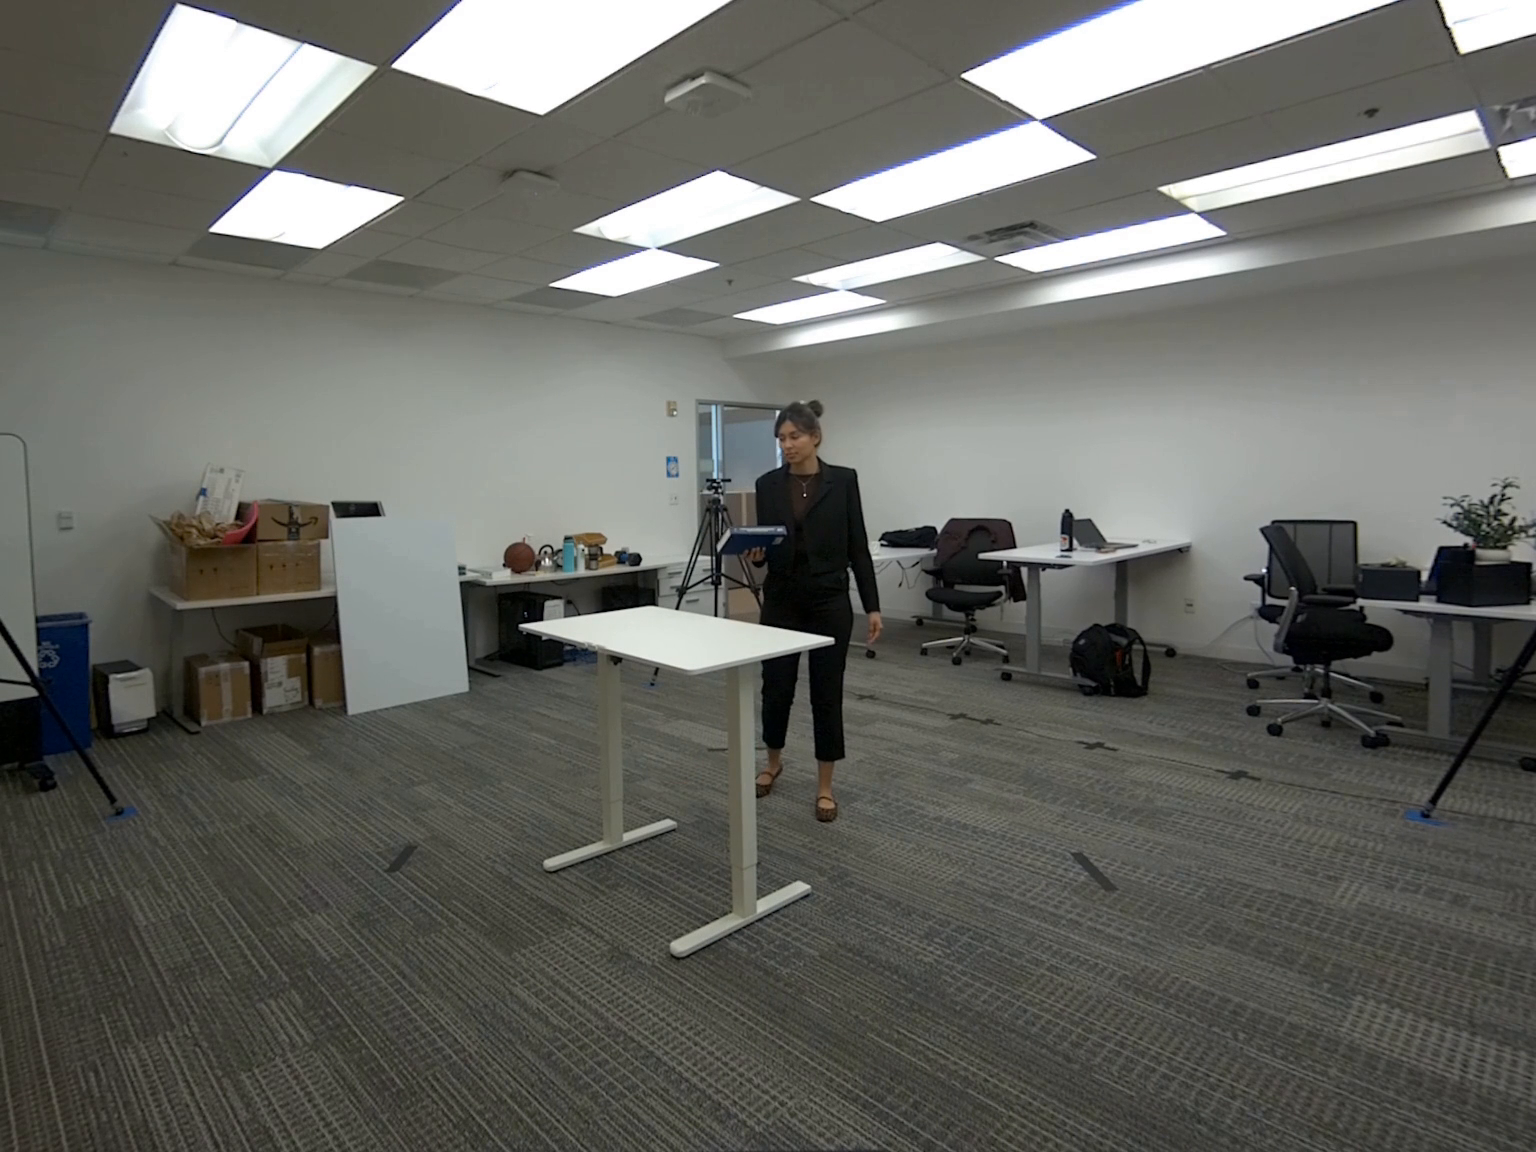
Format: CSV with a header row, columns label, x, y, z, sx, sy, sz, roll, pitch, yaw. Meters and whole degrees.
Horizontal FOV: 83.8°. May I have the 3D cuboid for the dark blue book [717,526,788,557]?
label,x,y,z,sx,sy,sz,roll,pitch,yaw
dark blue book,-0.067,-0.144,3.381,0.240,0.046,0.162,-1,-27,-23
